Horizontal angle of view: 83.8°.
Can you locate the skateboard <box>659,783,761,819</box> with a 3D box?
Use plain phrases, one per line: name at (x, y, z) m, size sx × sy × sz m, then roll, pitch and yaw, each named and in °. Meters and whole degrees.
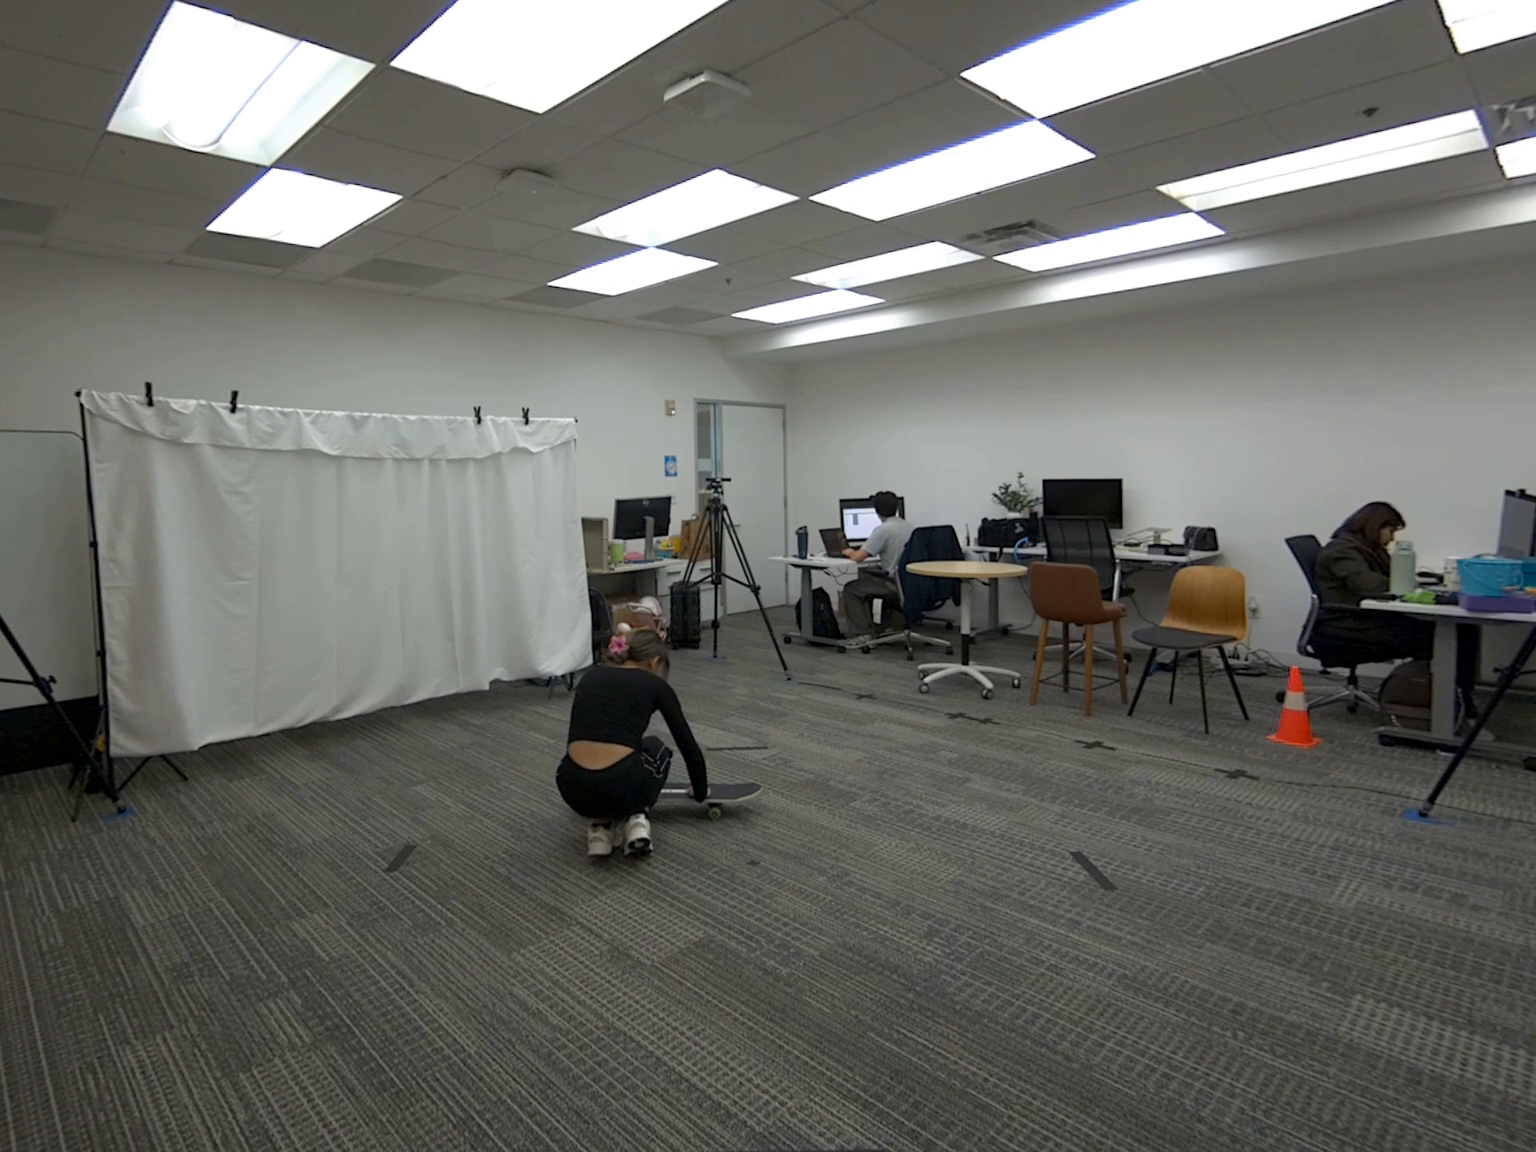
skateboard at (-0.416, 0.936, 3.596) m, size 0.789 × 0.110 × 0.193 m, roll 0°, pitch 7°, yaw 4°
